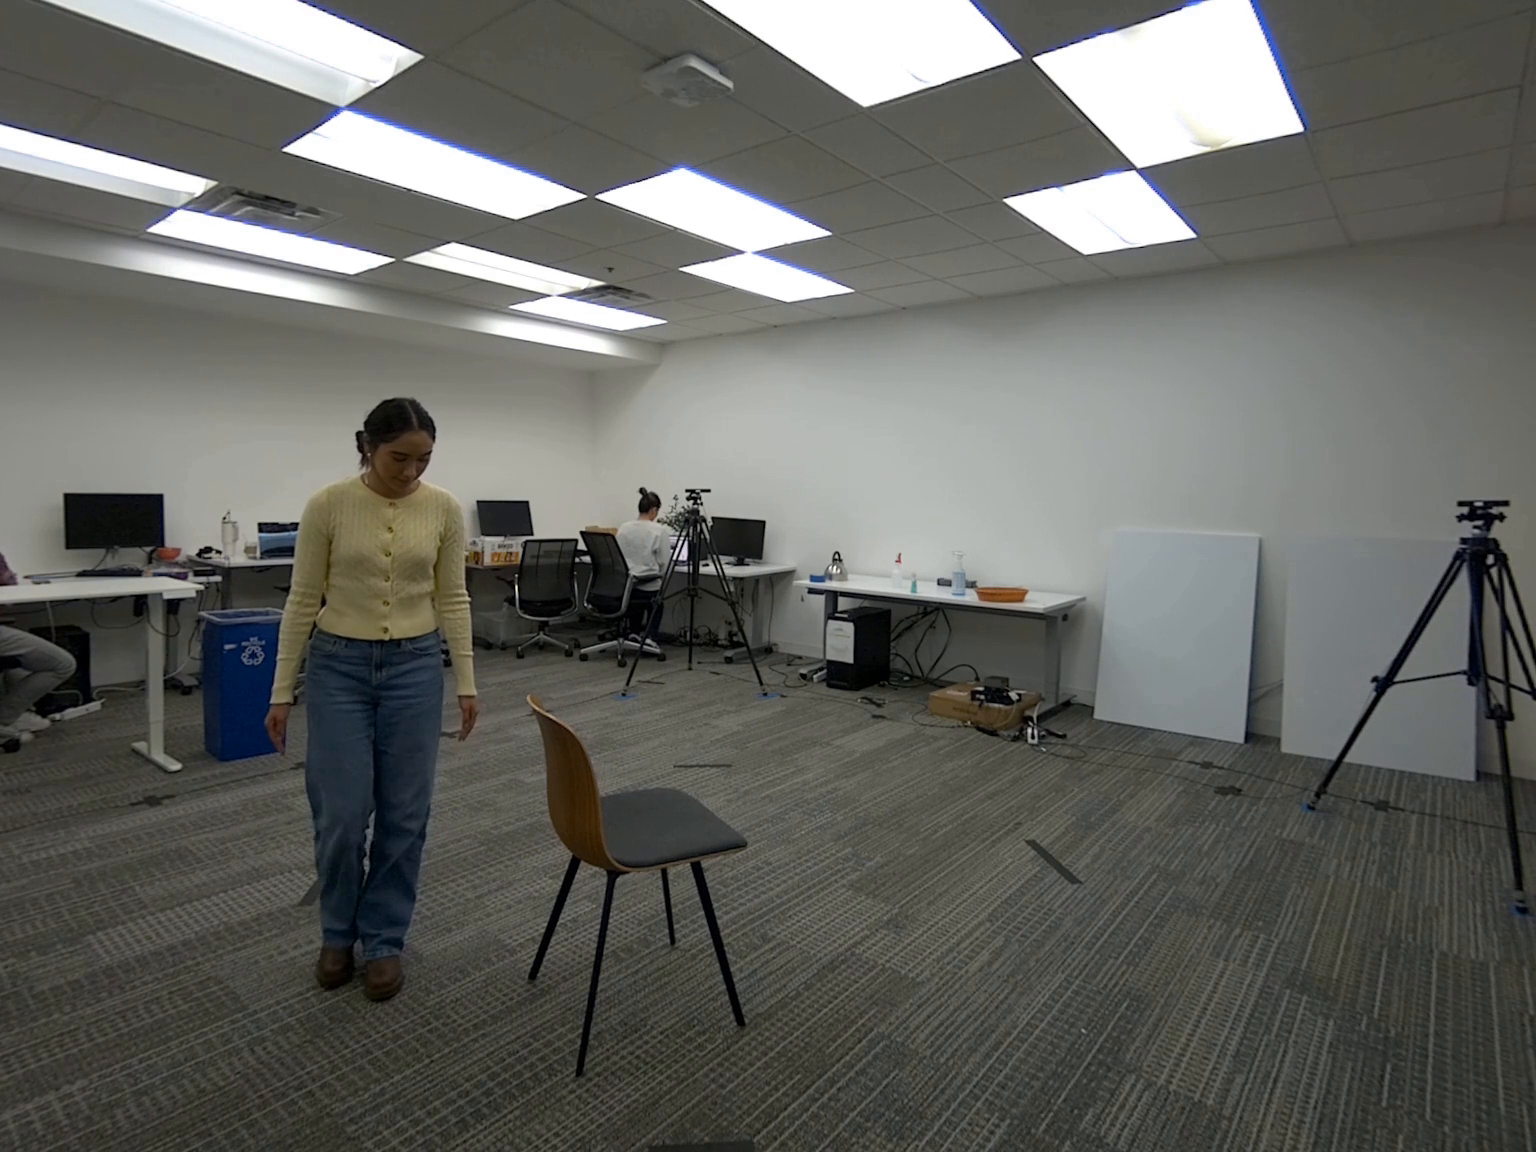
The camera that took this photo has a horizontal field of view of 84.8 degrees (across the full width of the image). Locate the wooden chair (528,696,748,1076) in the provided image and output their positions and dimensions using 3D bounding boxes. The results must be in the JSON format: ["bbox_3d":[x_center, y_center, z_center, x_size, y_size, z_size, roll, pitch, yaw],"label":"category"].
[{"bbox_3d":[-0.359,0.730,2.279,0.511,0.873,0.492,-6,6,-29],"label":"wooden chair"}]
